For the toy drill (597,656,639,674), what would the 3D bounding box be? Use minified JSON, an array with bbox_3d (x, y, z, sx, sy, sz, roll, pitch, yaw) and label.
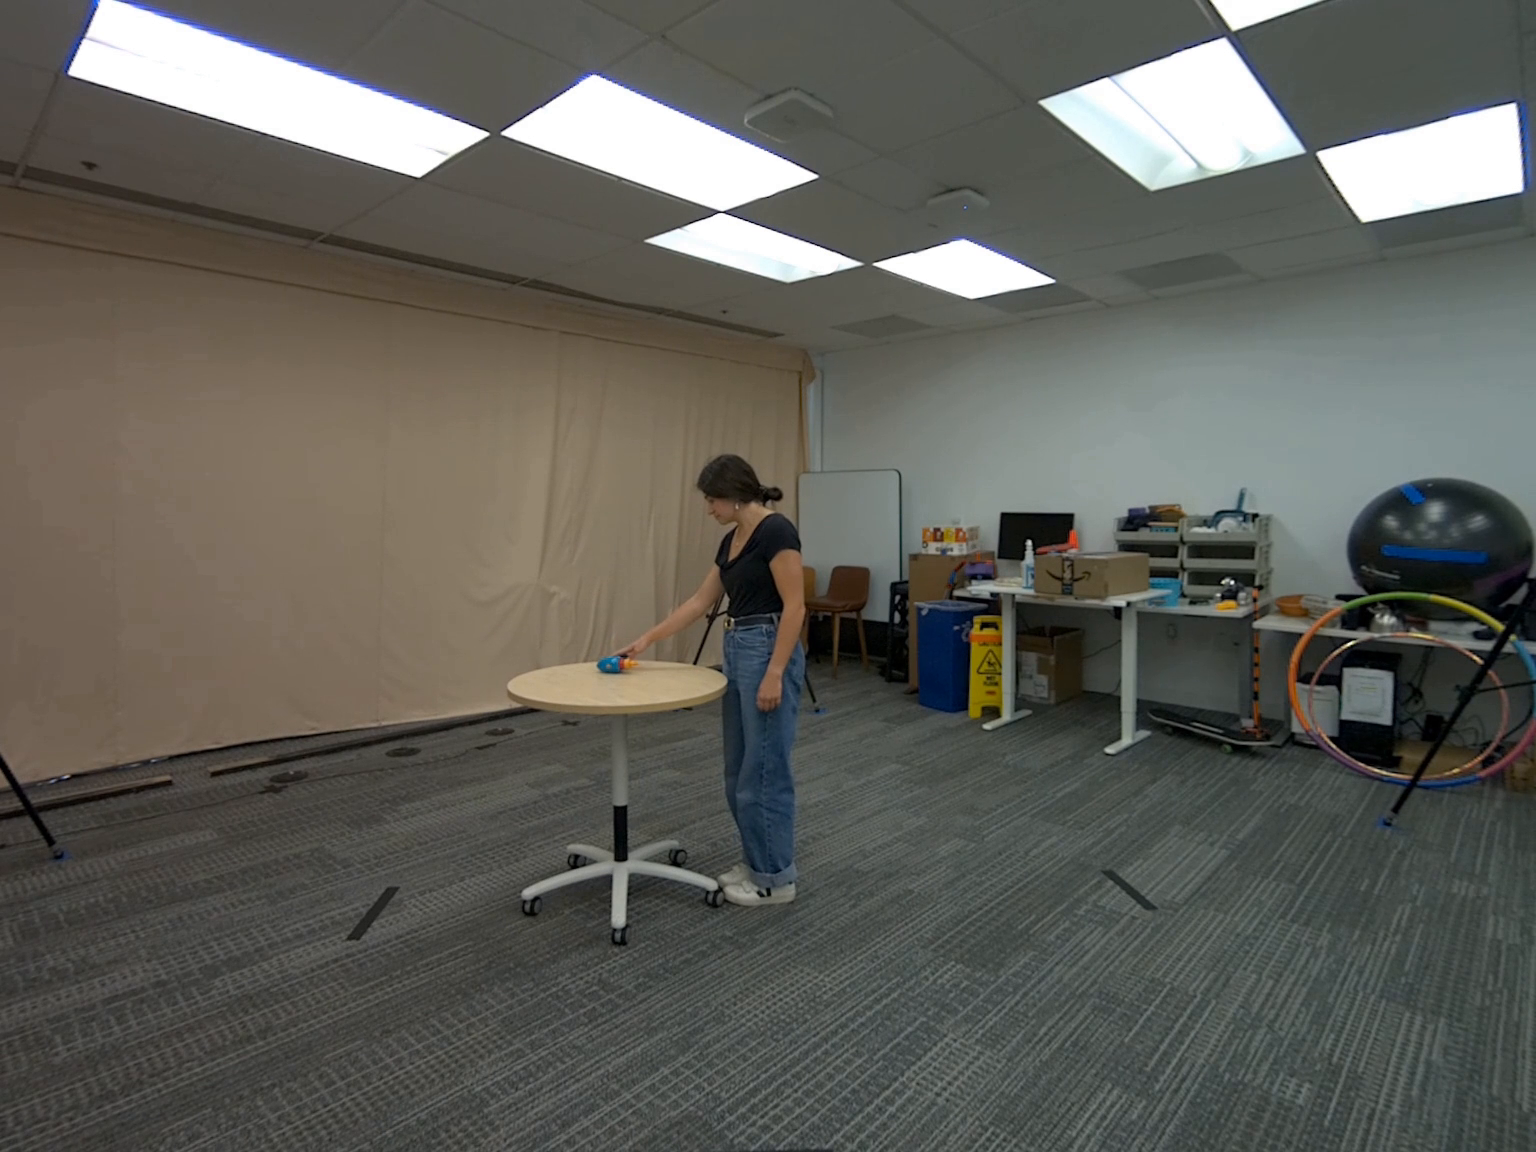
[{"bbox_3d":[-0.536,0.331,3.125,0.172,0.061,0.144,-6,0,12],"label":"toy drill"}]
